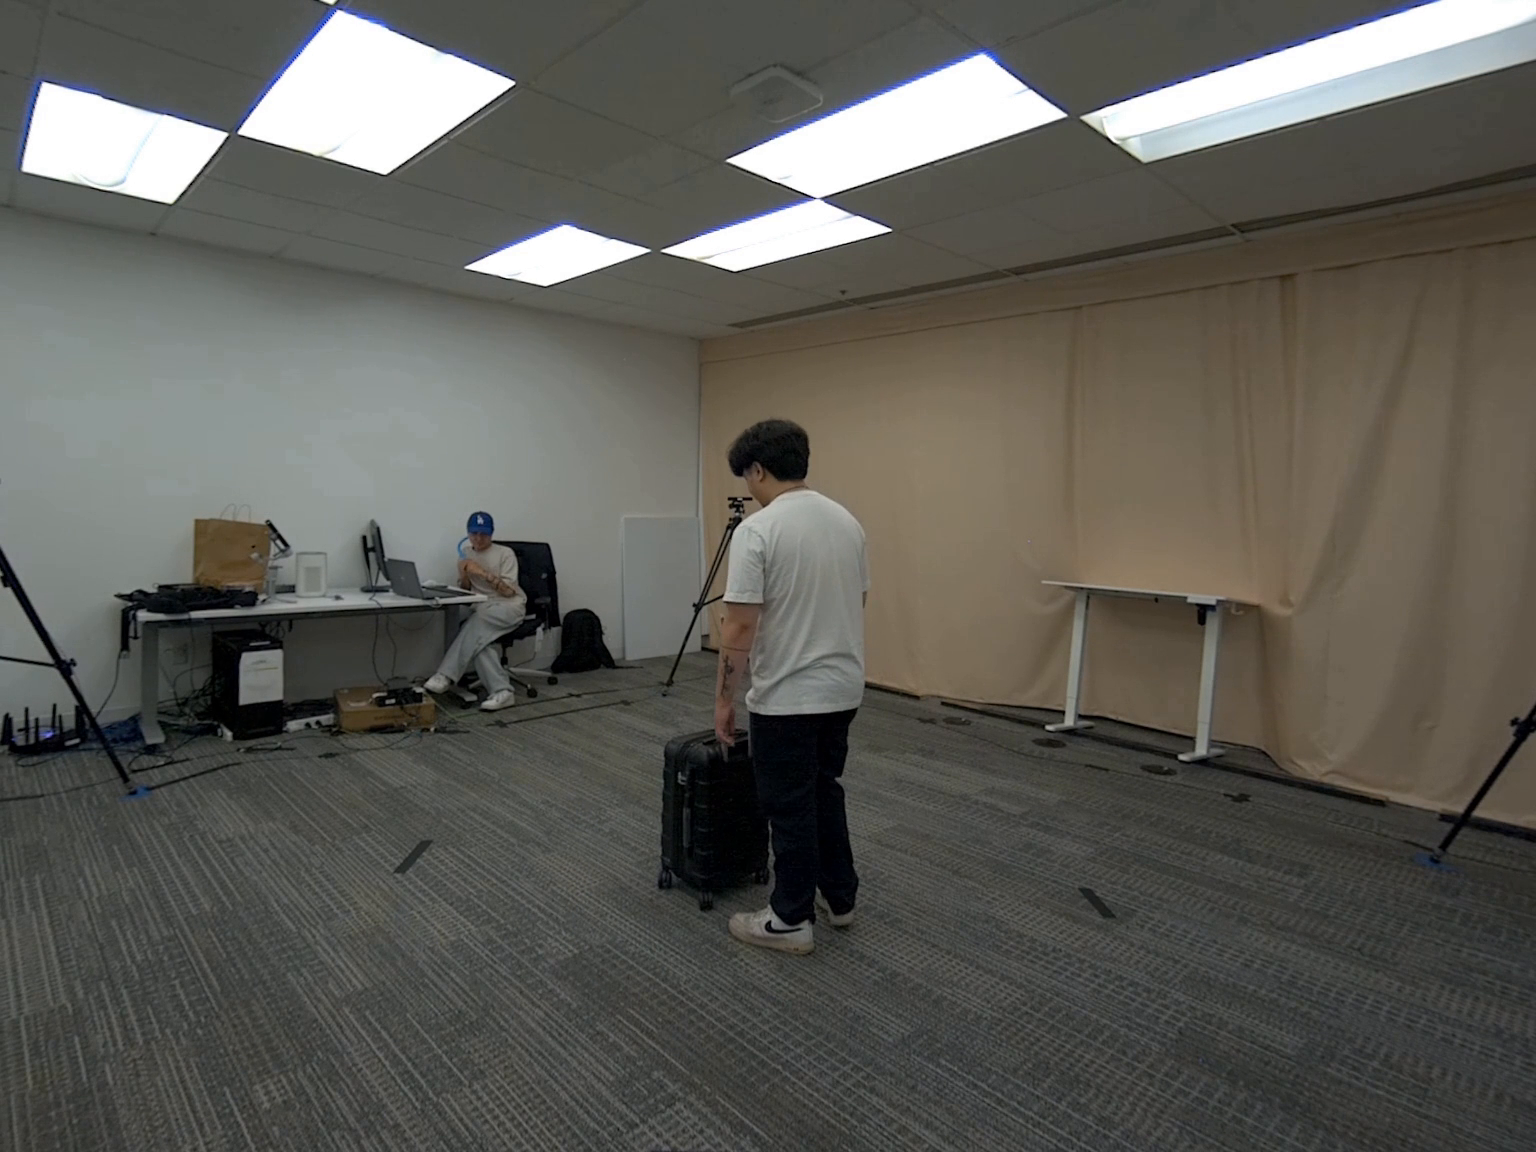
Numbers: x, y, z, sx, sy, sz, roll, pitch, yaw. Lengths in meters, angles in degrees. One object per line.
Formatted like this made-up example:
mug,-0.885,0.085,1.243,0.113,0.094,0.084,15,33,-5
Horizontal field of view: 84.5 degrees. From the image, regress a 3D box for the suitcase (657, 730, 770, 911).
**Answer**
suitcase,-0.198,0.635,3.038,0.375,0.978,0.263,-1,1,-44
